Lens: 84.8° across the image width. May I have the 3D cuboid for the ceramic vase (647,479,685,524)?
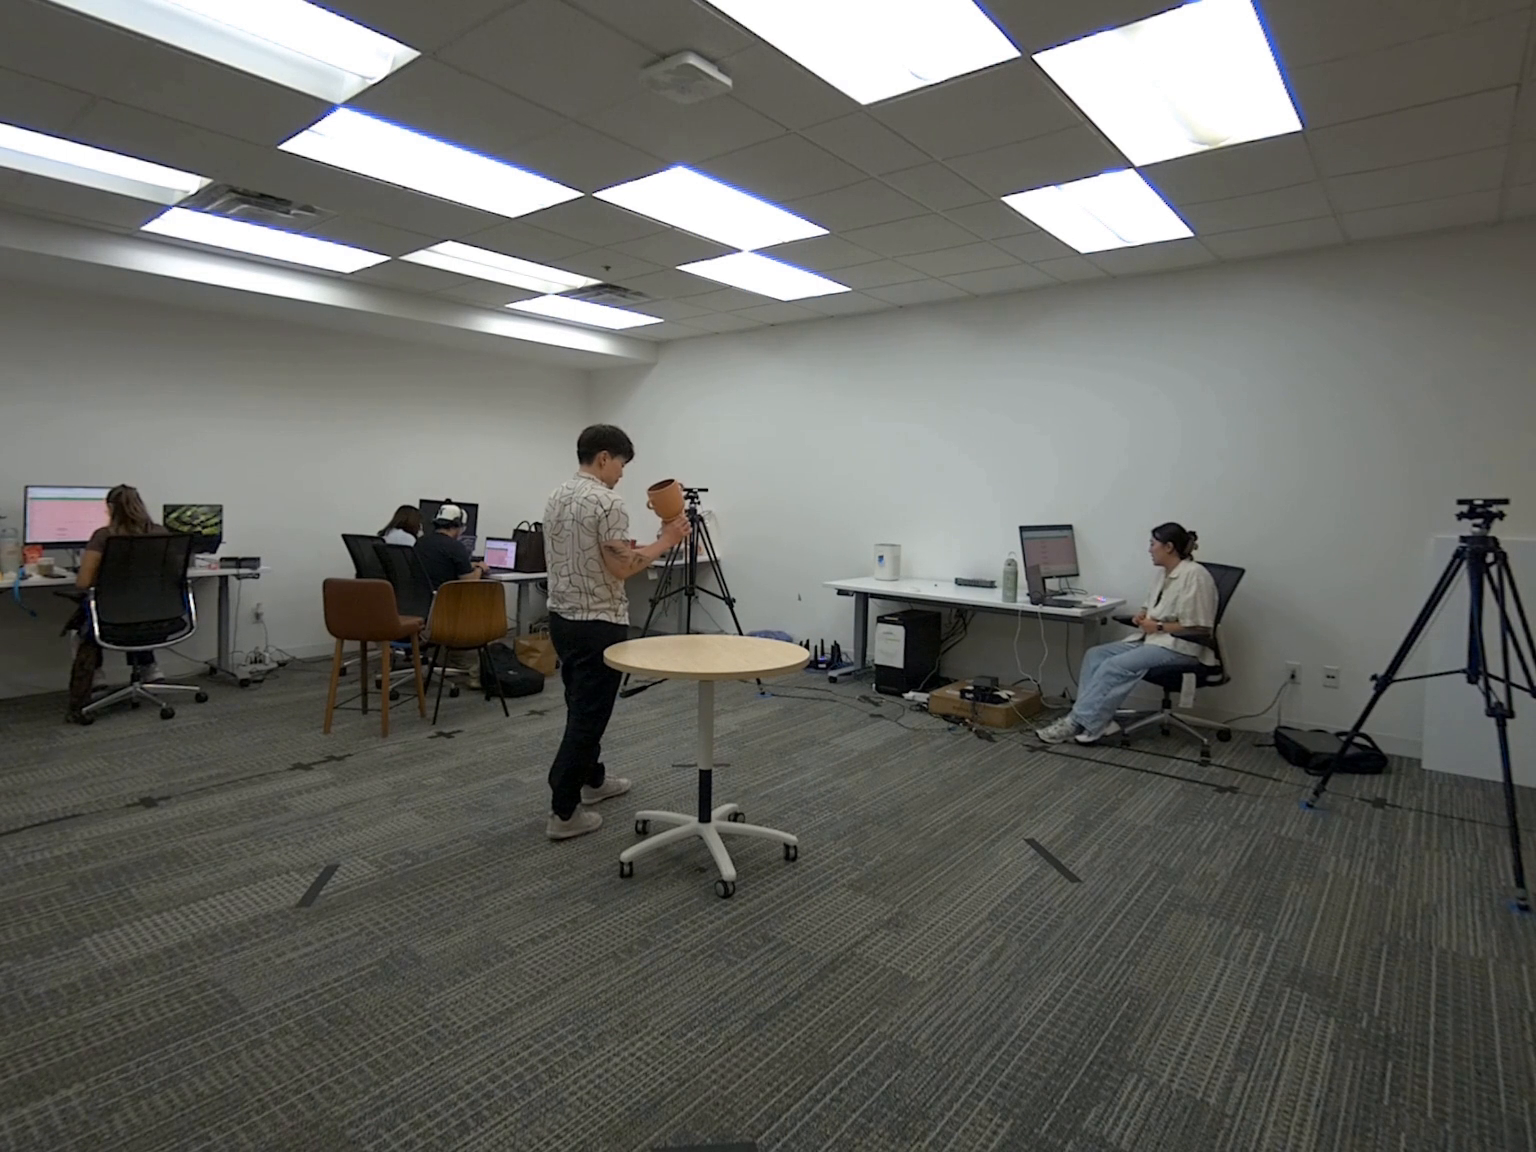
[{"bbox_3d":[-0.425,-0.283,3.519,0.159,0.214,0.137,-19,21,3],"label":"ceramic vase"}]
